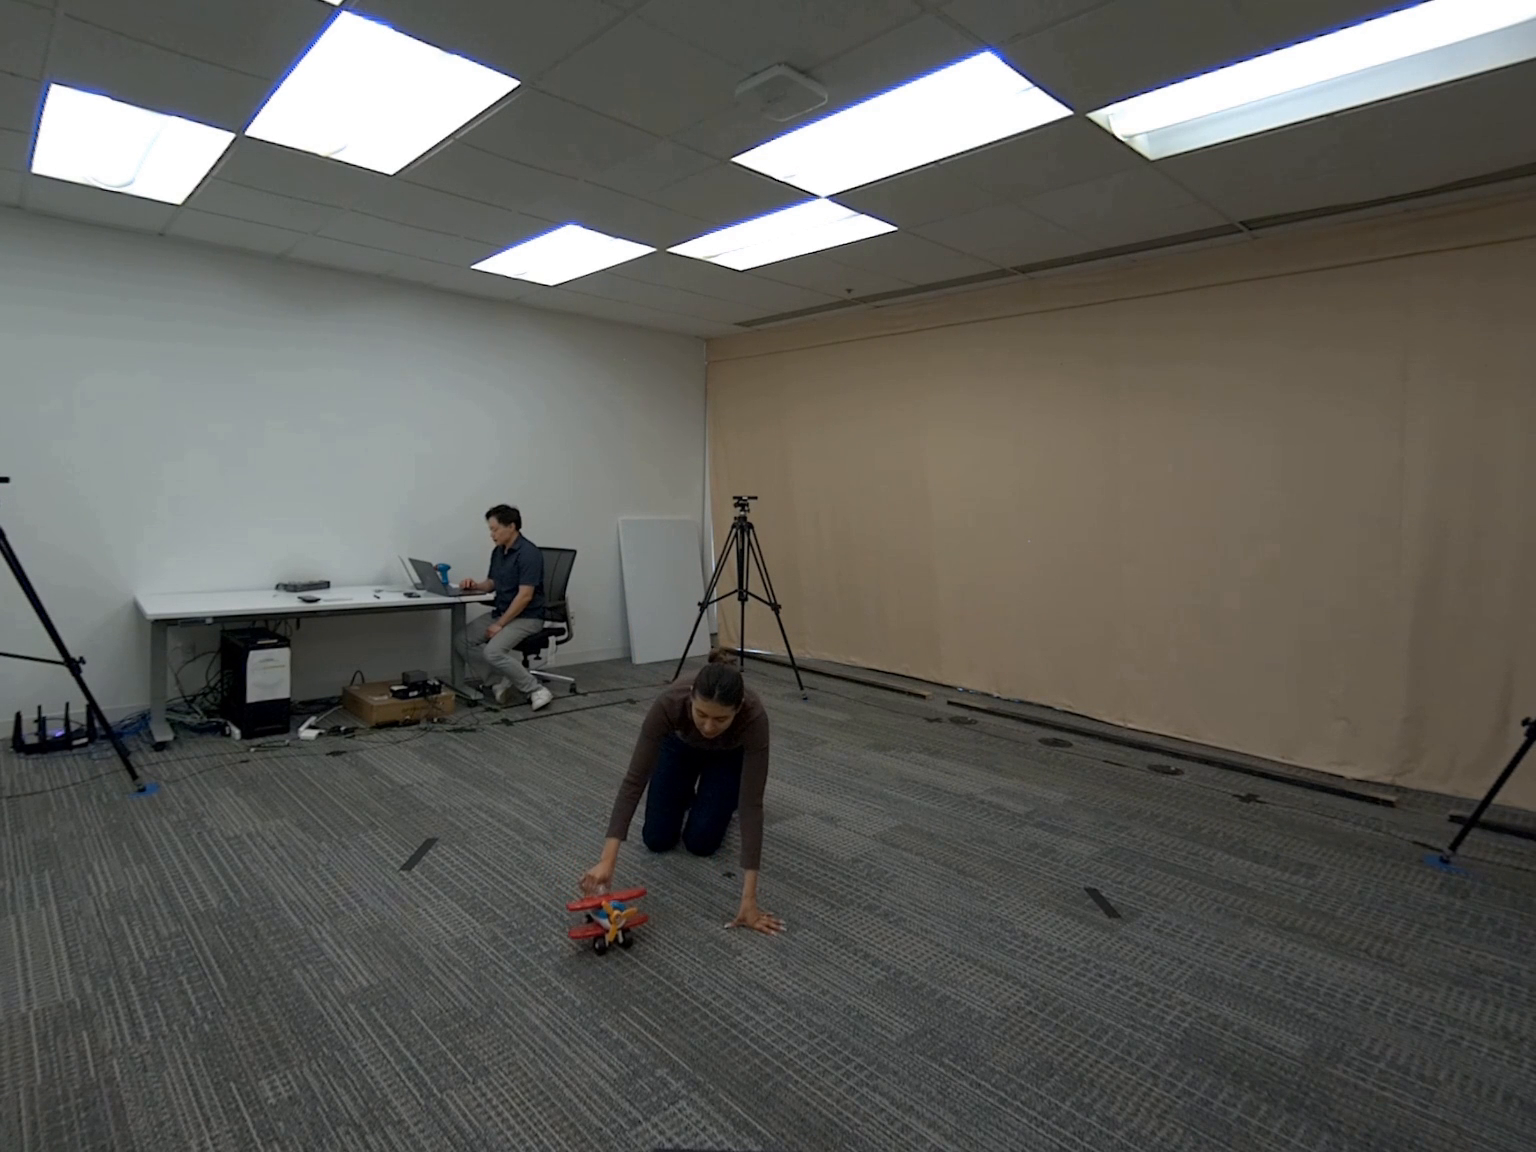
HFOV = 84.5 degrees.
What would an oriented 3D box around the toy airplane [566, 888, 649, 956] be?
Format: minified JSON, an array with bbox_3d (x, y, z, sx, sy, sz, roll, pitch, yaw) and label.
[{"bbox_3d":[-0.535,1.065,2.628,0.265,0.156,0.246,7,8,32],"label":"toy airplane"}]
